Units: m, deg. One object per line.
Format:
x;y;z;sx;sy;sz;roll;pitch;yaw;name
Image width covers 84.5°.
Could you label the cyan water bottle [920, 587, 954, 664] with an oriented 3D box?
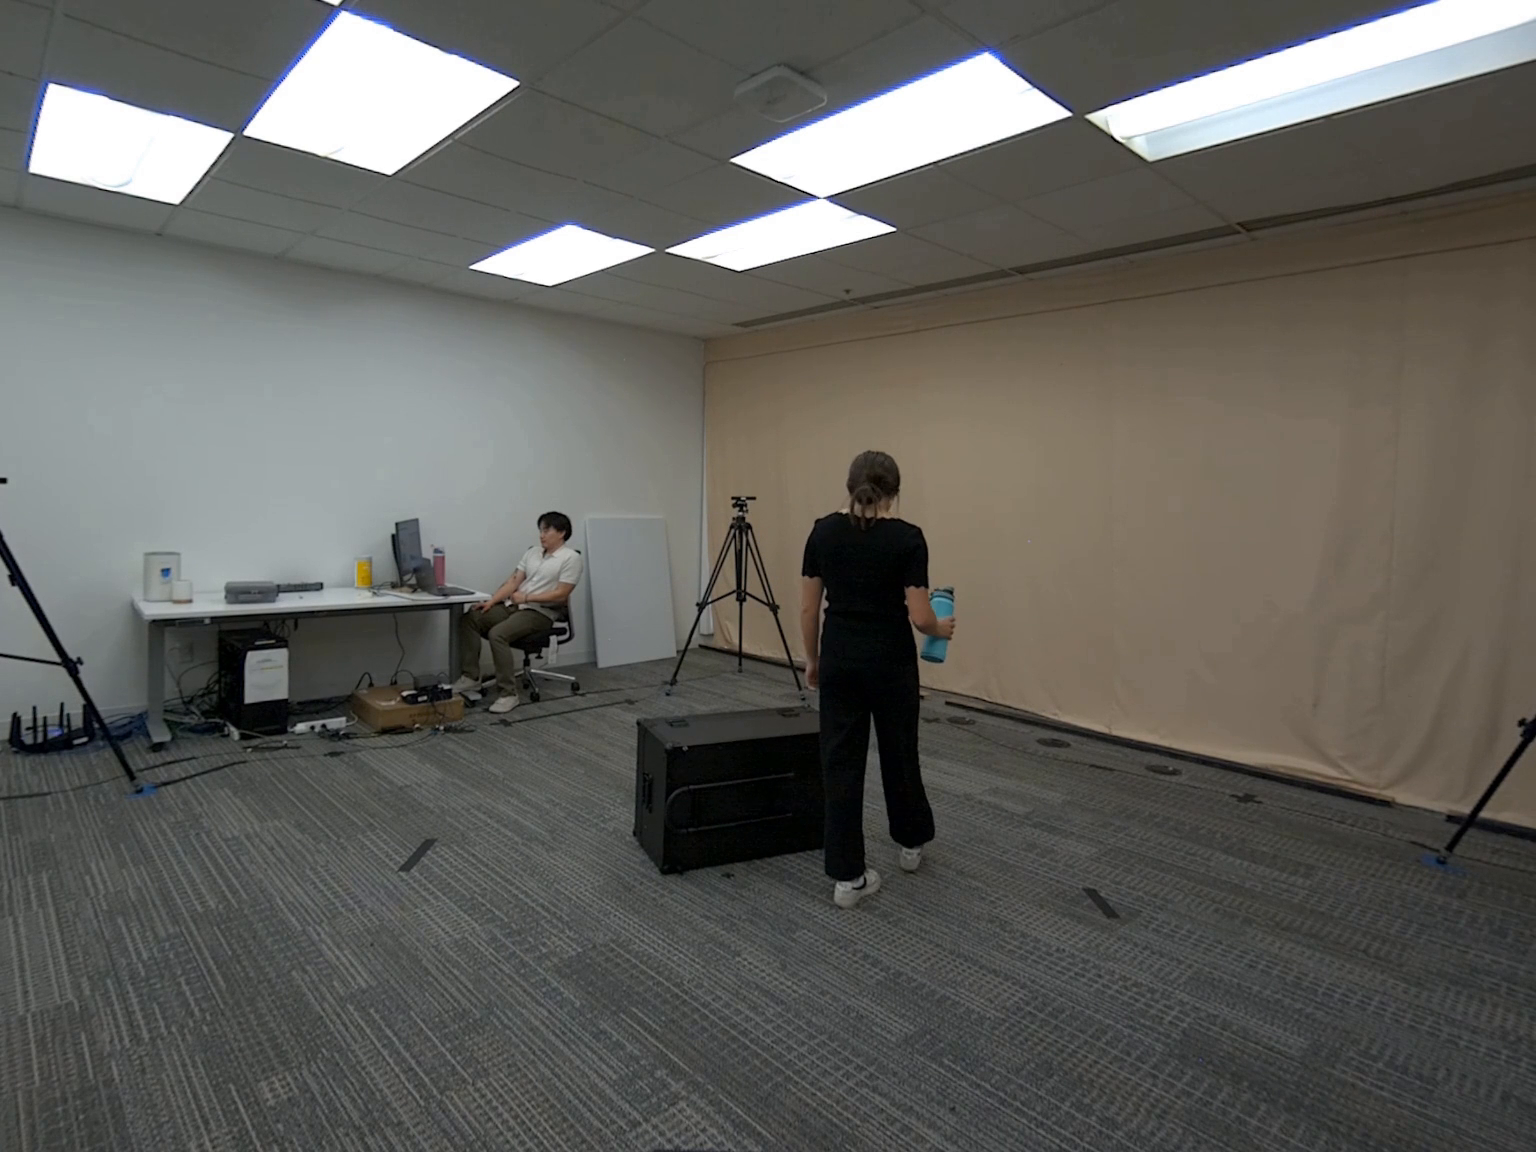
0.618;0.175;3.102;0.093;0.286;0.091;14;-19;3;cyan water bottle
